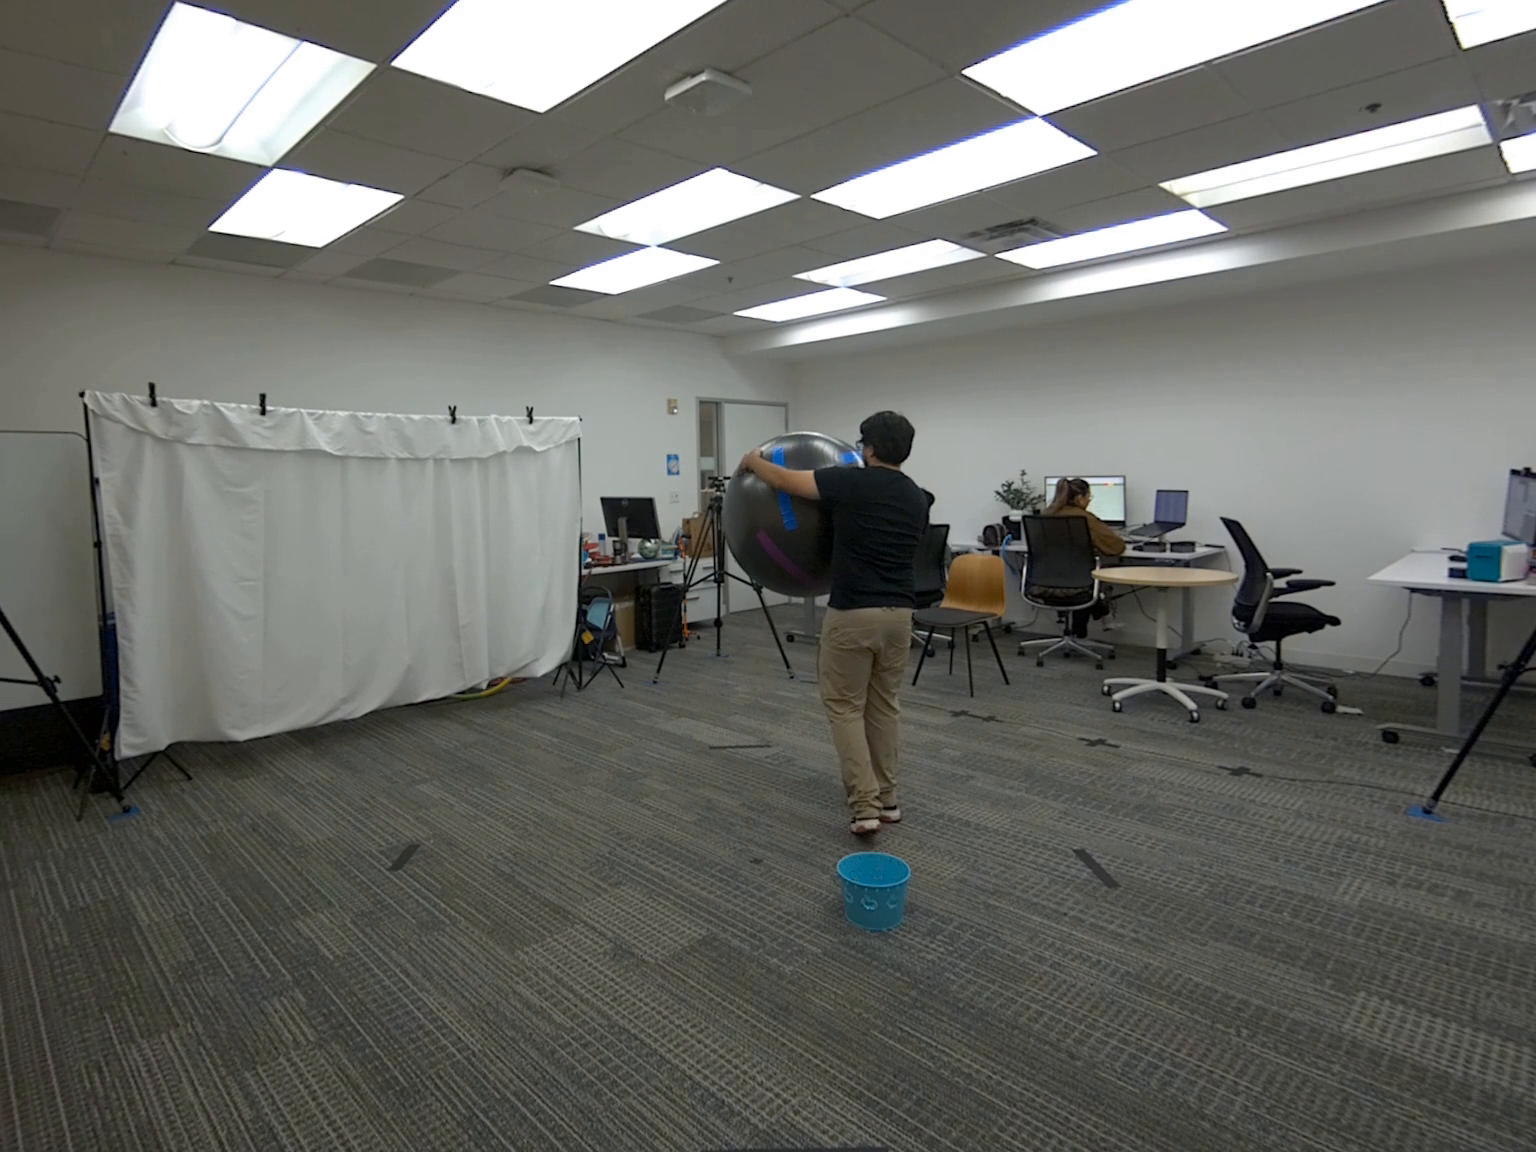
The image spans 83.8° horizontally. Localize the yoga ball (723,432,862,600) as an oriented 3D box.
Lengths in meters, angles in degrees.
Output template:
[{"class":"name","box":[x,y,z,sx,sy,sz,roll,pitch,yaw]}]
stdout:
[{"class":"yoga ball","box":[0.164,-0.271,3.931,0.757,0.755,0.762,-1,5,-2]}]
